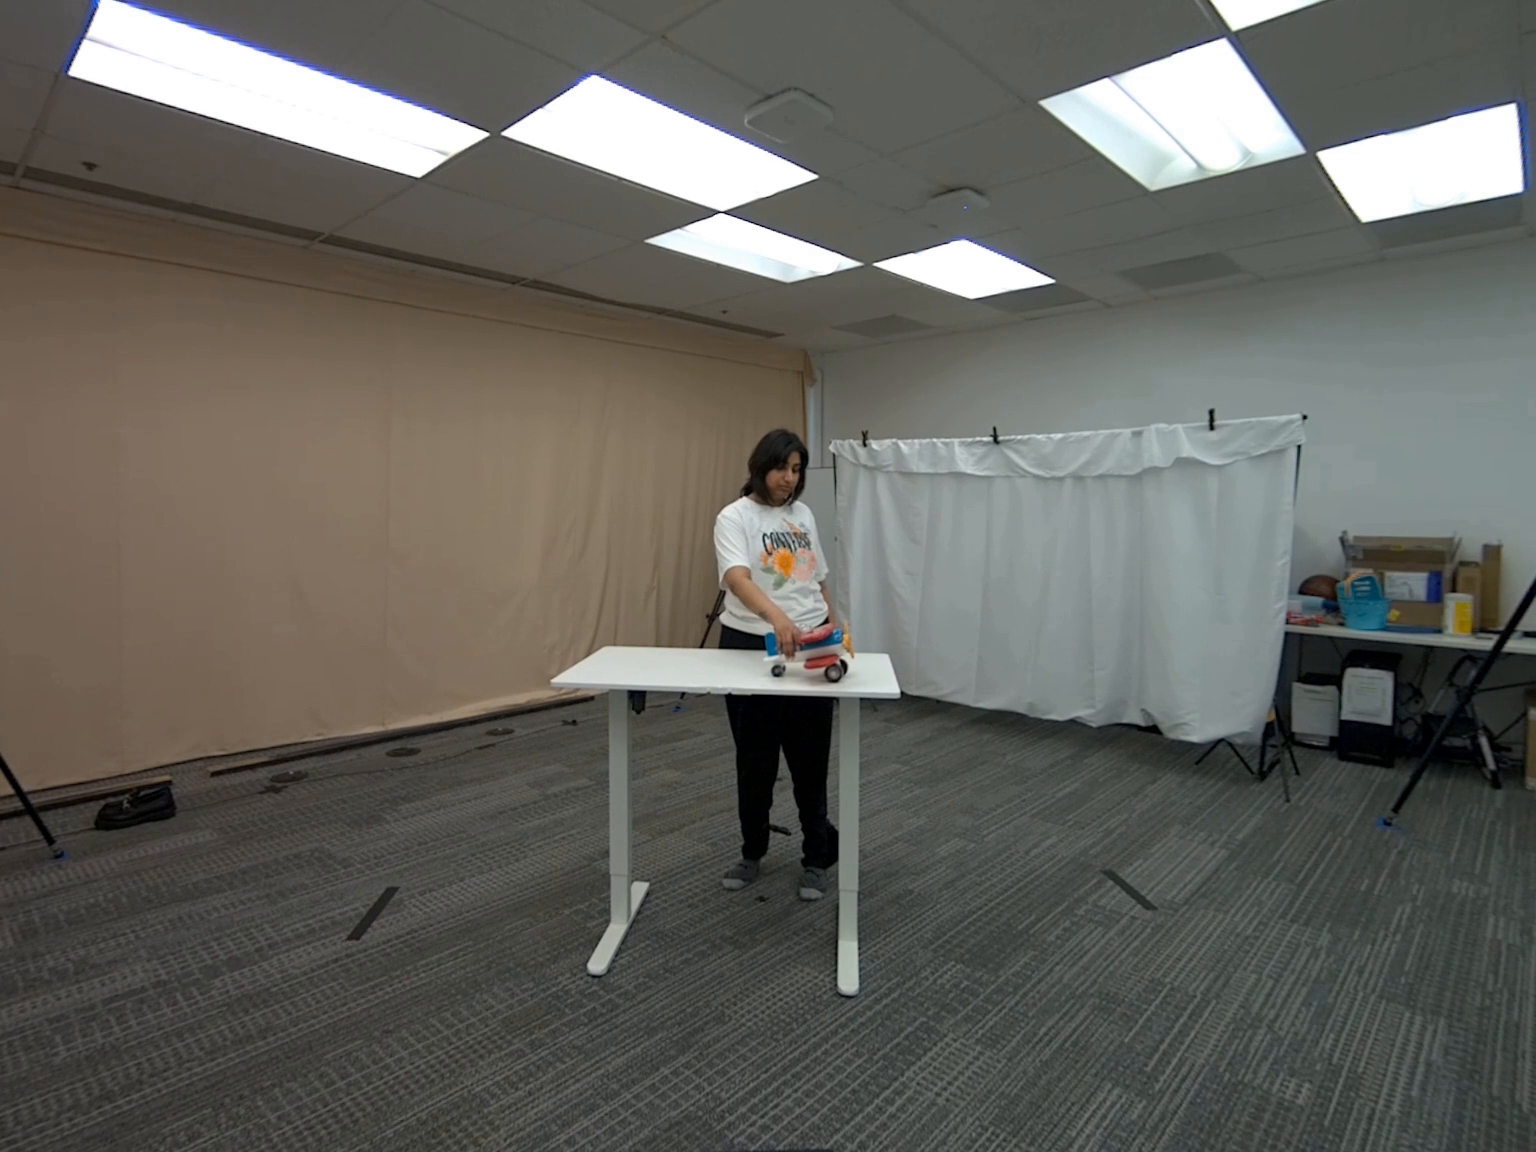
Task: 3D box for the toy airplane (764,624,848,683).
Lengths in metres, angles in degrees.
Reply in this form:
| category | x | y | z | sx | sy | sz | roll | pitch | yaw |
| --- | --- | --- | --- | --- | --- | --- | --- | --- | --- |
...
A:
| category | x | y | z | sx | sy | sz | roll | pitch | yaw |
| --- | --- | --- | --- | --- | --- | --- | --- | --- | --- |
| toy airplane | 0.121 | 0.228 | 2.487 | 0.256 | 0.156 | 0.255 | -1 | 5 | -11 |
